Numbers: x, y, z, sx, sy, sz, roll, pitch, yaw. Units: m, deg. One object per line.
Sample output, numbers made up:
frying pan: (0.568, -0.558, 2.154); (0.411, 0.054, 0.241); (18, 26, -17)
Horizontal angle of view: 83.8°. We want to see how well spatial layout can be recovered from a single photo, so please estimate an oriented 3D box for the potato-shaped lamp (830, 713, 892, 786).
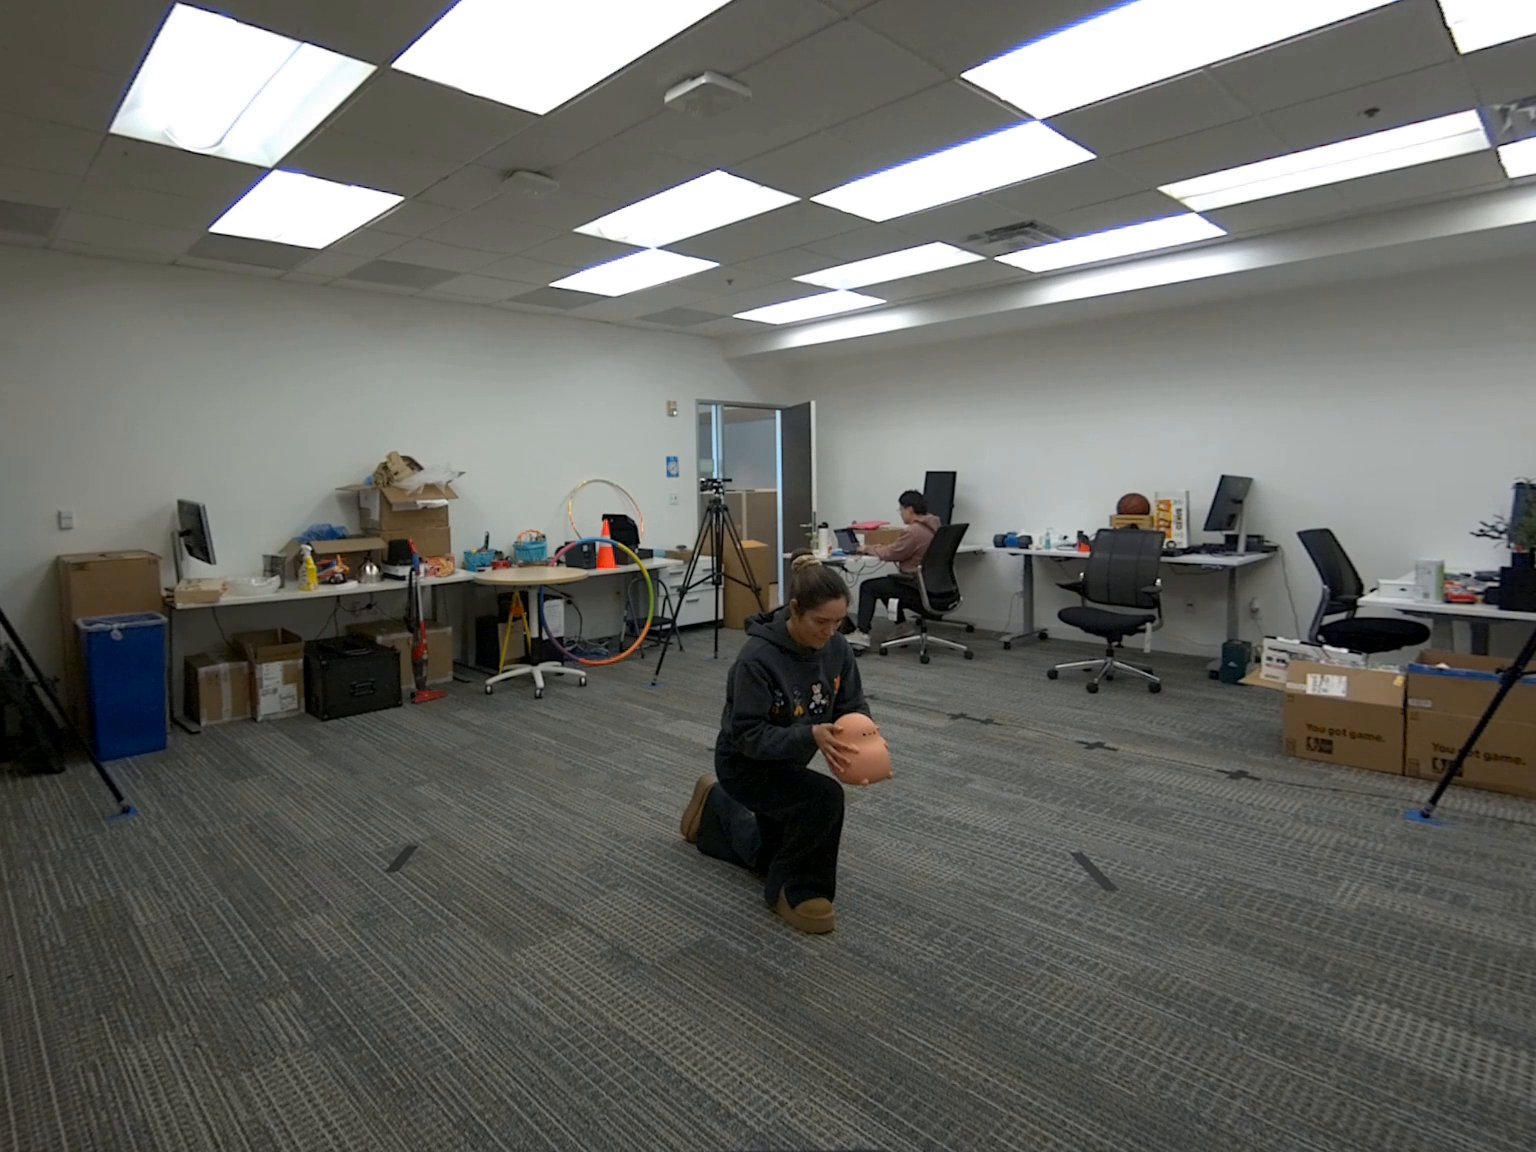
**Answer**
potato-shaped lamp: (0.262, 0.500, 2.471); (0.160, 0.199, 0.175); (-5, -6, -36)
